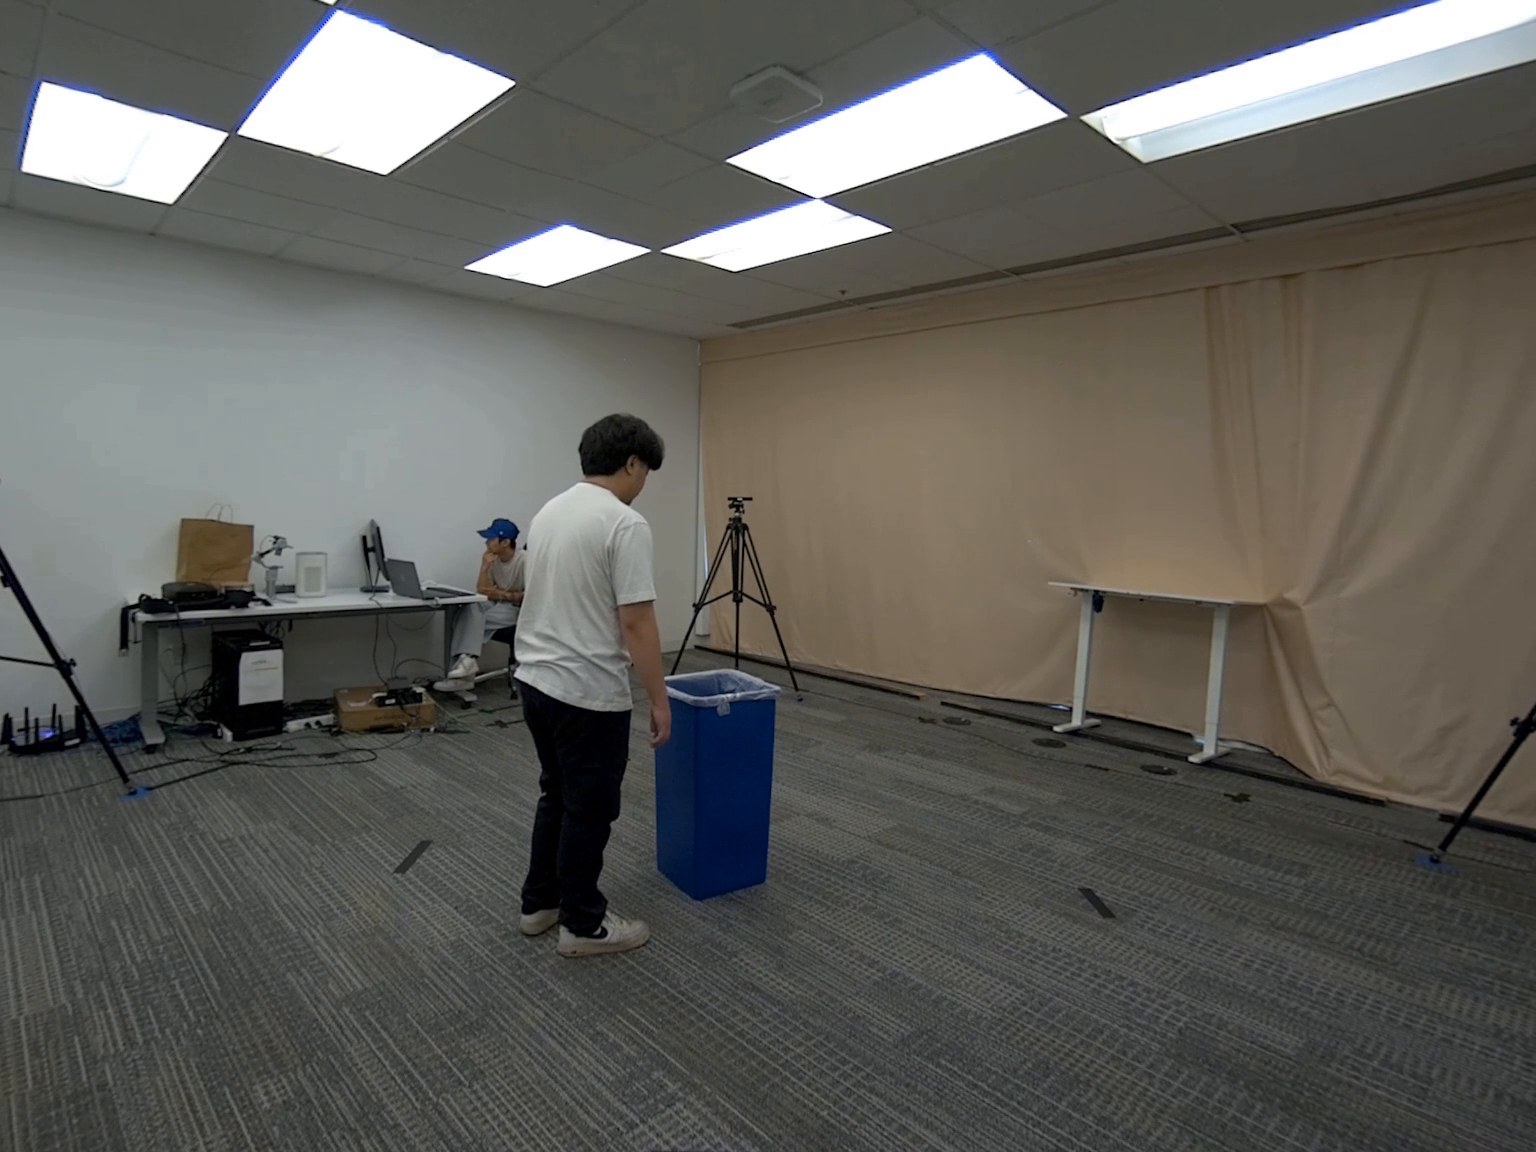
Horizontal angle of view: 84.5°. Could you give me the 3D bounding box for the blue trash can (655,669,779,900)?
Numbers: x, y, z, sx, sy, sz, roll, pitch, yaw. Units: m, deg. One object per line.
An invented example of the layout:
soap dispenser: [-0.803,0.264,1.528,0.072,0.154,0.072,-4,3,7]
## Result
blue trash can: [-0.215,0.748,3.095,0.370,0.712,0.383,-1,4,-34]
